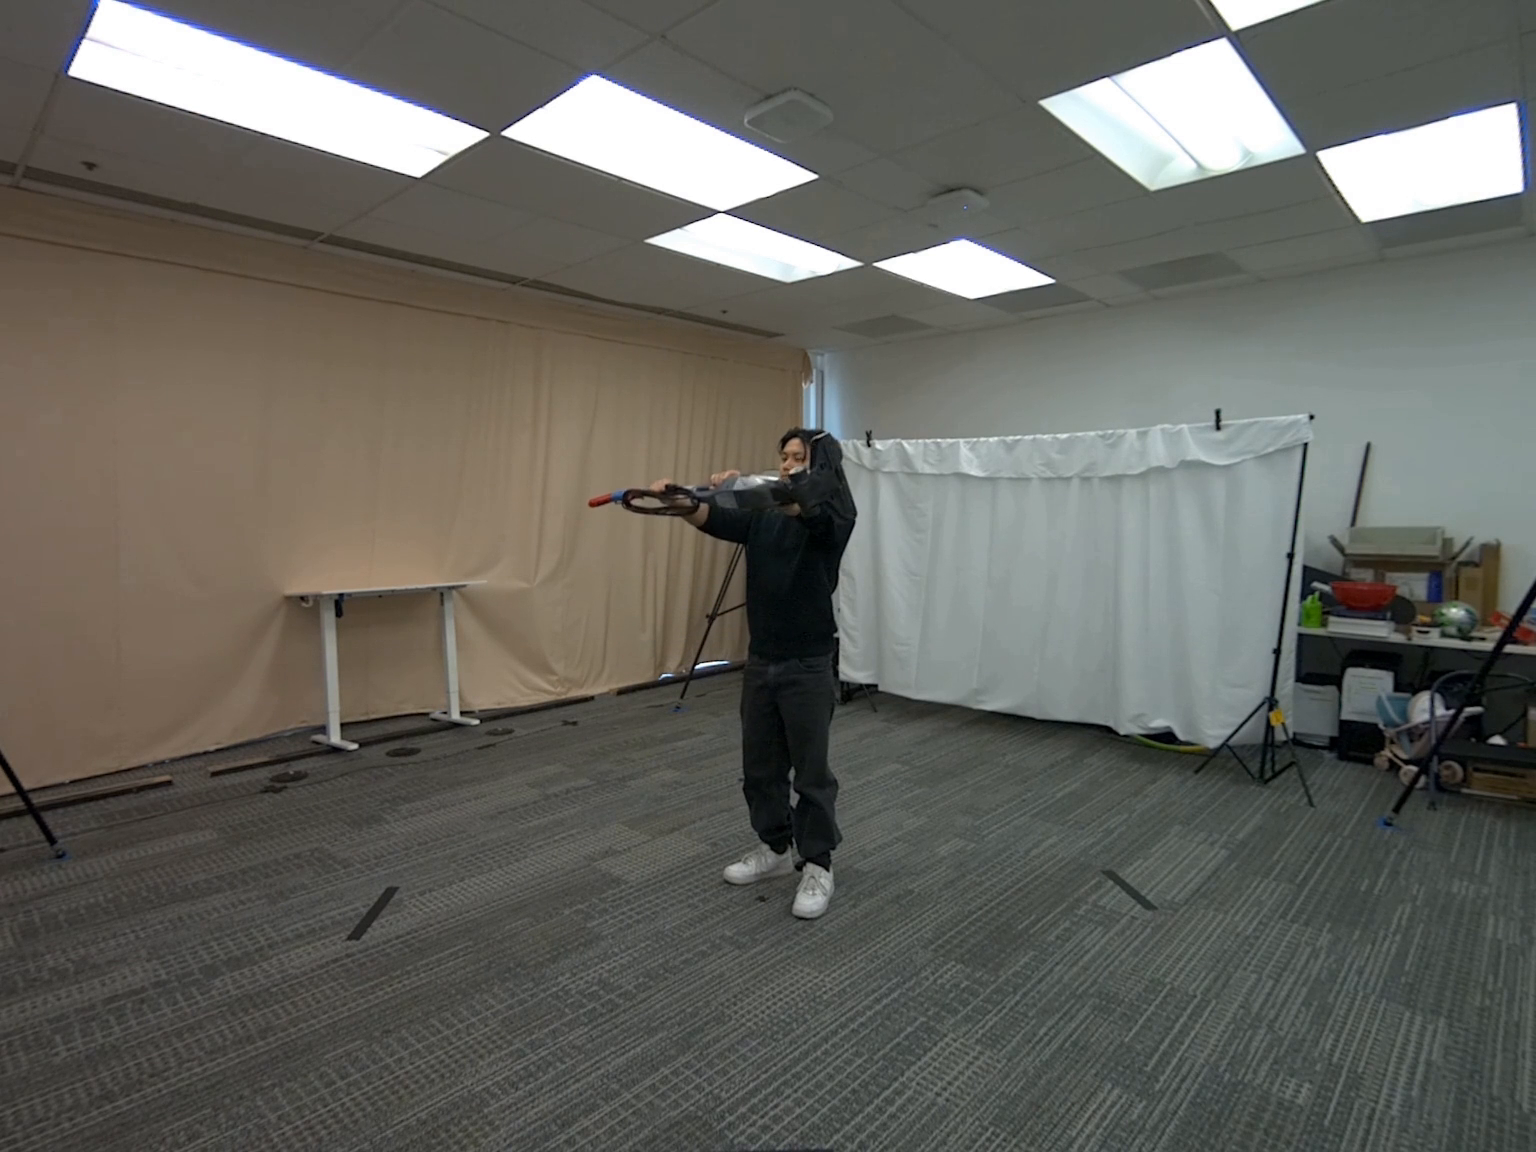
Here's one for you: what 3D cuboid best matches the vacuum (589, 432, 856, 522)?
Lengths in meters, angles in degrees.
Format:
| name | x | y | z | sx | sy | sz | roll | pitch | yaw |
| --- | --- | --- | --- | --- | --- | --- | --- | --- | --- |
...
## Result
| name | x | y | z | sx | sy | sz | roll | pitch | yaw |
| --- | --- | --- | --- | --- | --- | --- | --- | --- | --- |
| vacuum | -0.226 | -0.243 | 2.647 | 1.083 | 0.246 | 0.143 | -1 | 40 | 45 |
